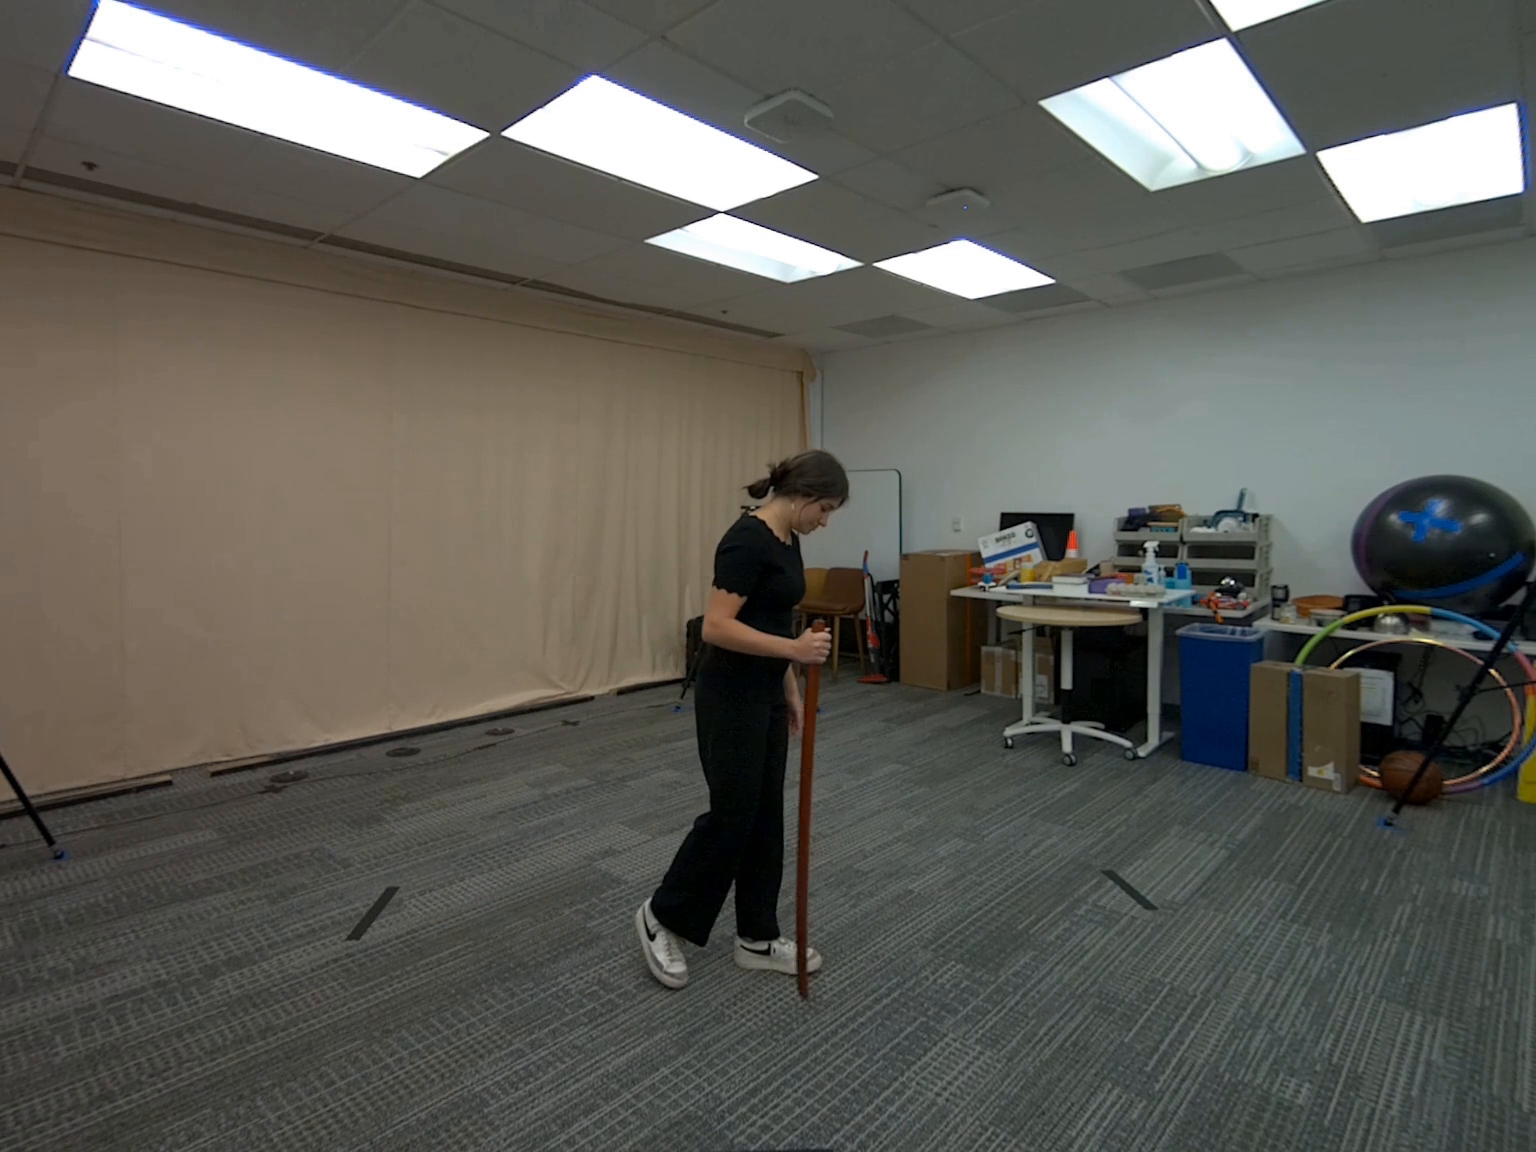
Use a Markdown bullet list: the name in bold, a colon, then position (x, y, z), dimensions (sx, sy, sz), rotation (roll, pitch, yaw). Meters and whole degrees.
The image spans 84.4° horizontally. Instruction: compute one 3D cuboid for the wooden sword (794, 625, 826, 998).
- **wooden sword**: position (0.100, 0.670, 2.285), dimensions (0.024, 1.023, 0.052), rotation (2, 2, -8)
